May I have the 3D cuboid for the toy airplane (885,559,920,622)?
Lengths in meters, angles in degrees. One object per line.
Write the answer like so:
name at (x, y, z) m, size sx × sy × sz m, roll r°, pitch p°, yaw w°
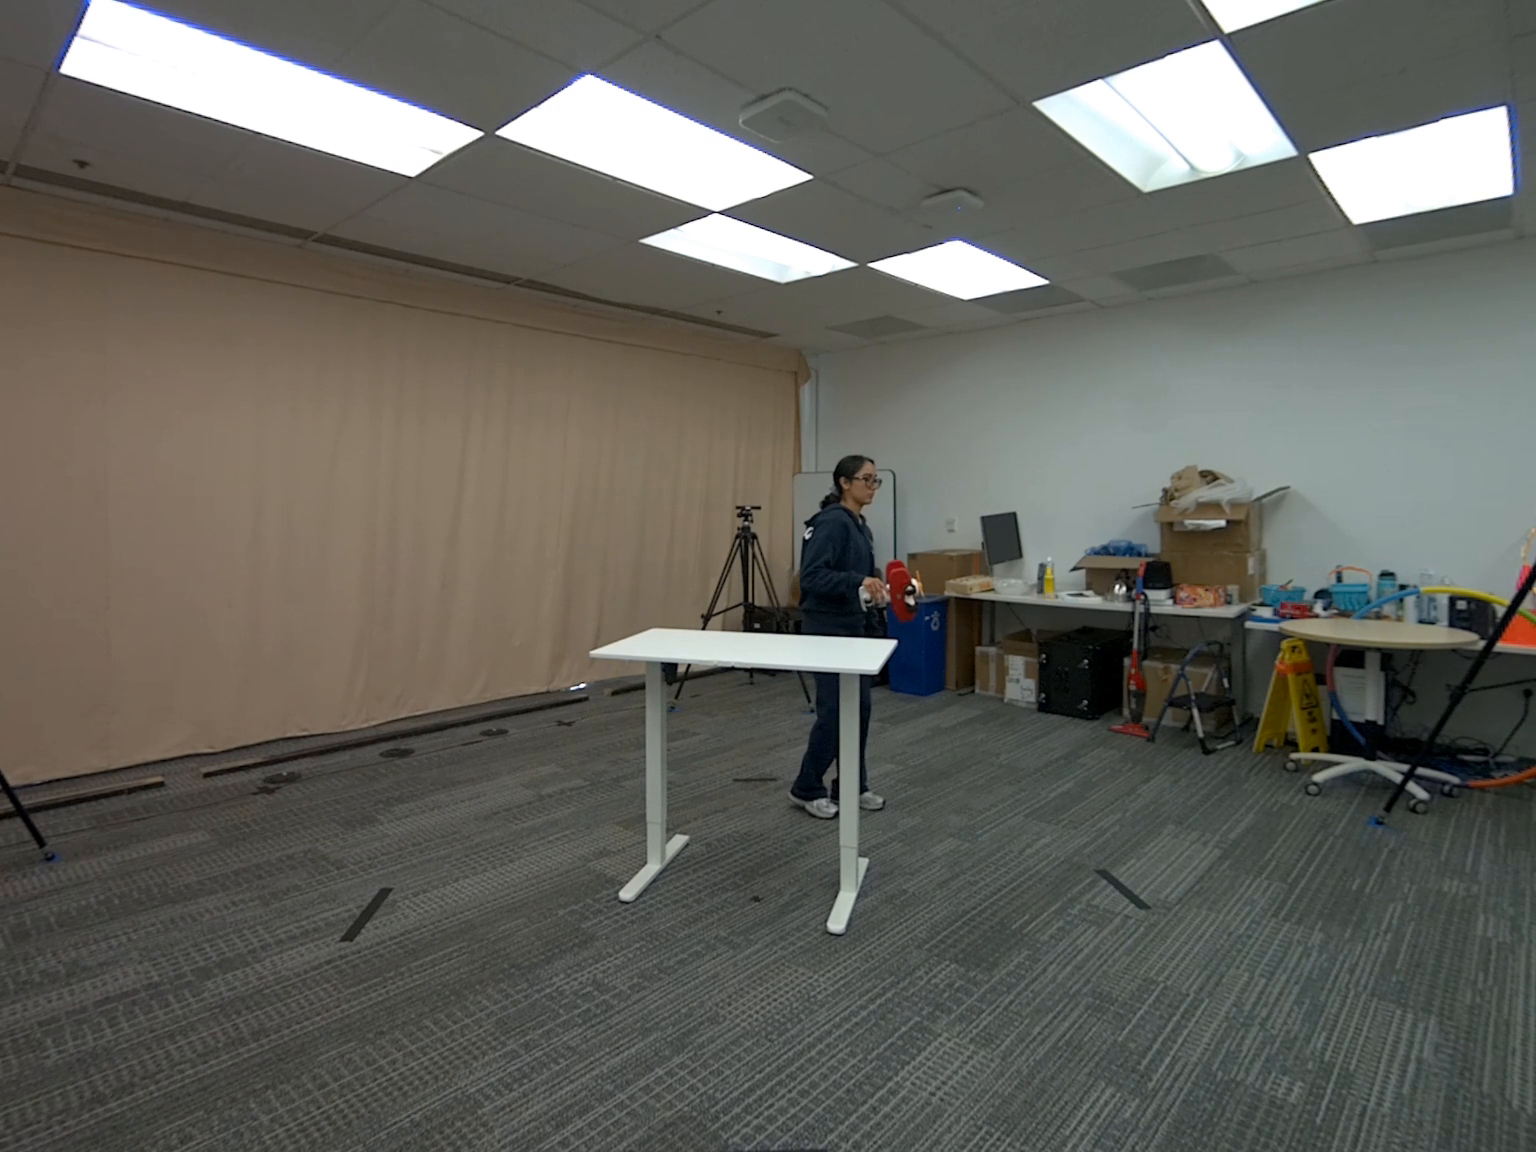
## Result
toy airplane at (0.520, 0.056, 3.550) m, size 0.261 × 0.249 × 0.156 m, roll 18°, pitch 31°, yaw 6°
